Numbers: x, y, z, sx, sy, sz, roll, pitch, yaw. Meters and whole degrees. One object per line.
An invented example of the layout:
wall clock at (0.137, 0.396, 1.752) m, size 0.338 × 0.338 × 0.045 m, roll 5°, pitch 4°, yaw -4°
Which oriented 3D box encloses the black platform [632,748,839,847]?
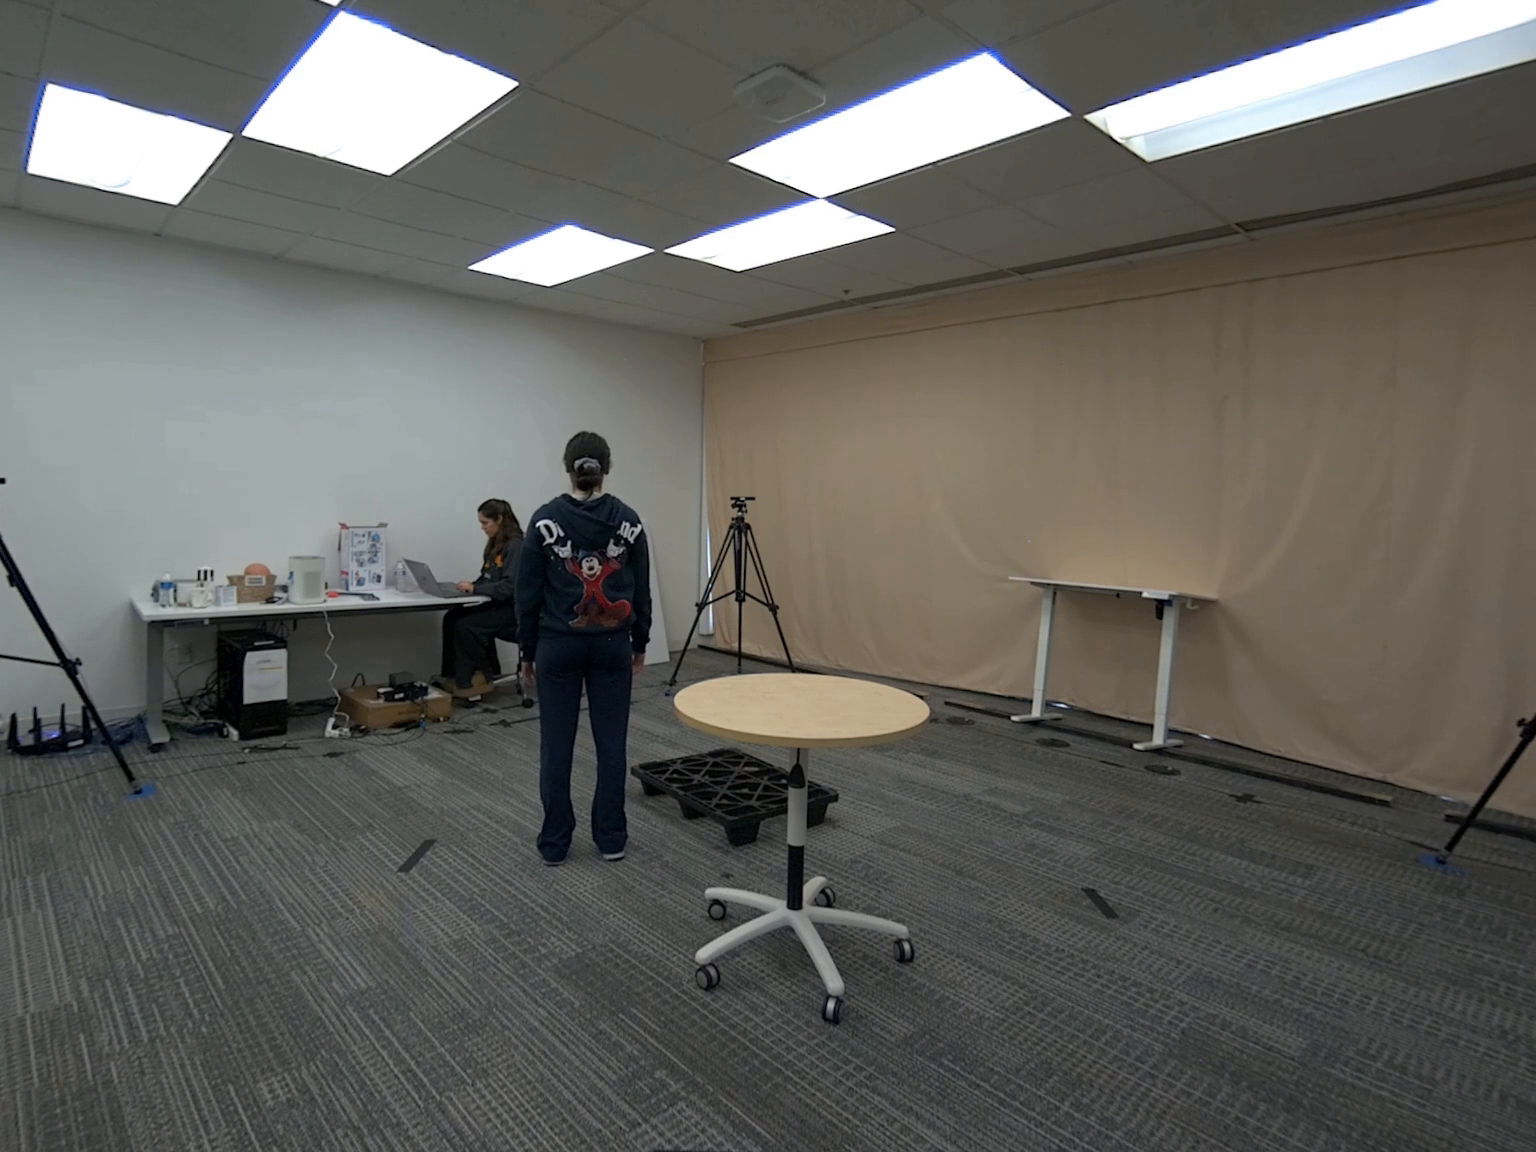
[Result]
black platform at (-0.180, 0.982, 3.790) m, size 0.592 × 0.143 × 0.826 m, roll -3°, pitch 6°, yaw -37°
